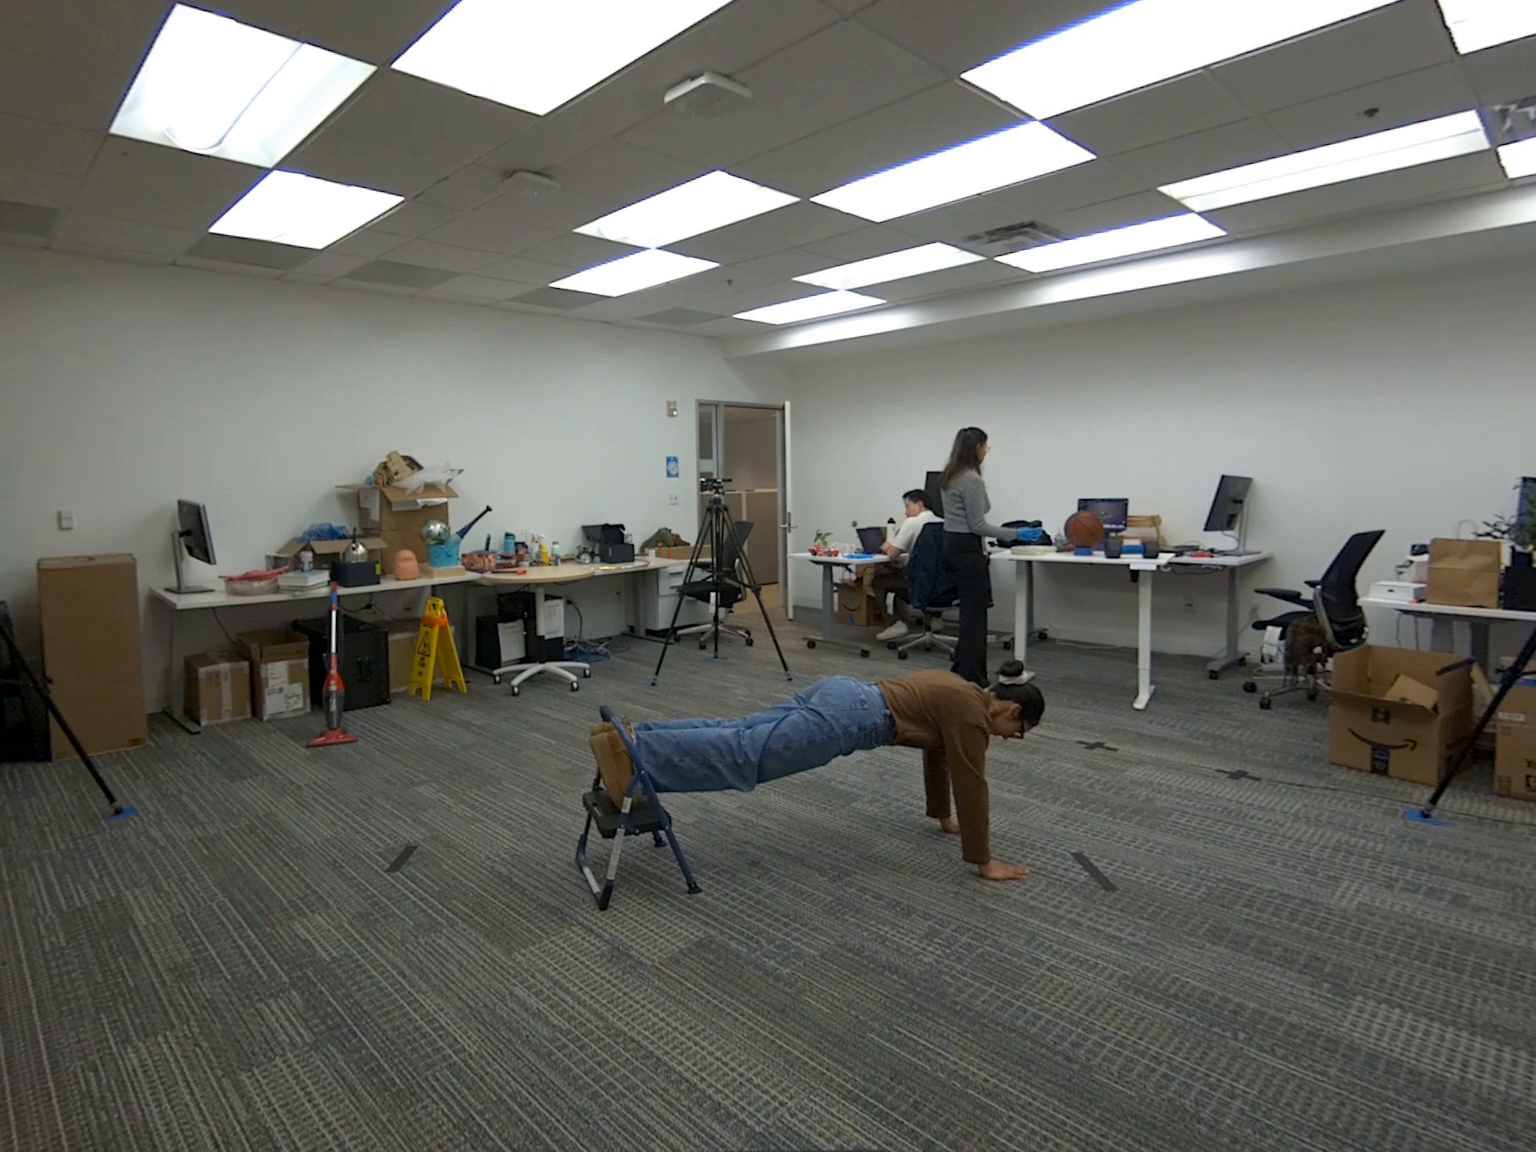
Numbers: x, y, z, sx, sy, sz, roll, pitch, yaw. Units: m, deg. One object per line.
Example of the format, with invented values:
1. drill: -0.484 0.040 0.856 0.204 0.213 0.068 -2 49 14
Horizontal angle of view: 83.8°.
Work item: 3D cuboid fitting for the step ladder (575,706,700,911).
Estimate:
1. step ladder: -0.474 0.763 3.010 0.342 0.604 0.441 -3 5 -24
